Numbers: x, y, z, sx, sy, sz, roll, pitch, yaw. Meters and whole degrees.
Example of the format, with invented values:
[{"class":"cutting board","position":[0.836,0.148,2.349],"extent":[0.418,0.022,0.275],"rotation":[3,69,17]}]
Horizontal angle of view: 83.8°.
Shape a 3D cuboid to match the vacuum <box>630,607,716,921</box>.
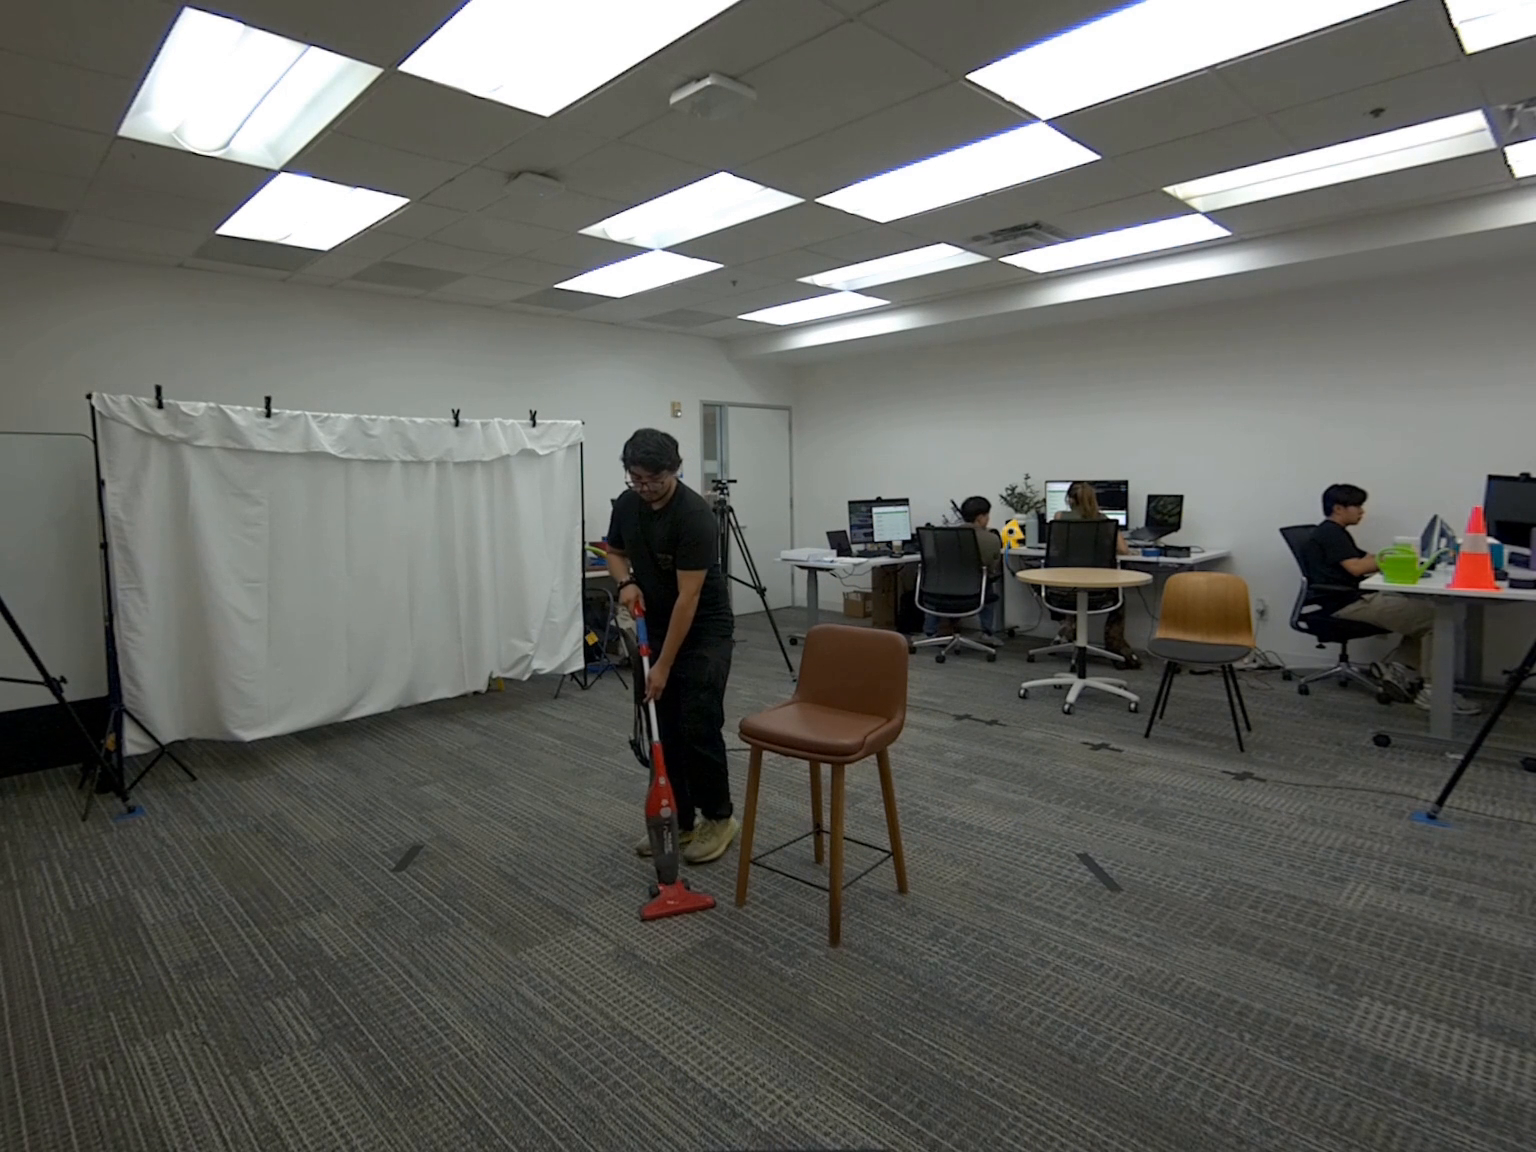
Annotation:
[{"class":"vacuum","position":[-0.402,0.592,2.976],"extent":[0.248,1.069,0.144],"rotation":[-3,-19,-23]}]
